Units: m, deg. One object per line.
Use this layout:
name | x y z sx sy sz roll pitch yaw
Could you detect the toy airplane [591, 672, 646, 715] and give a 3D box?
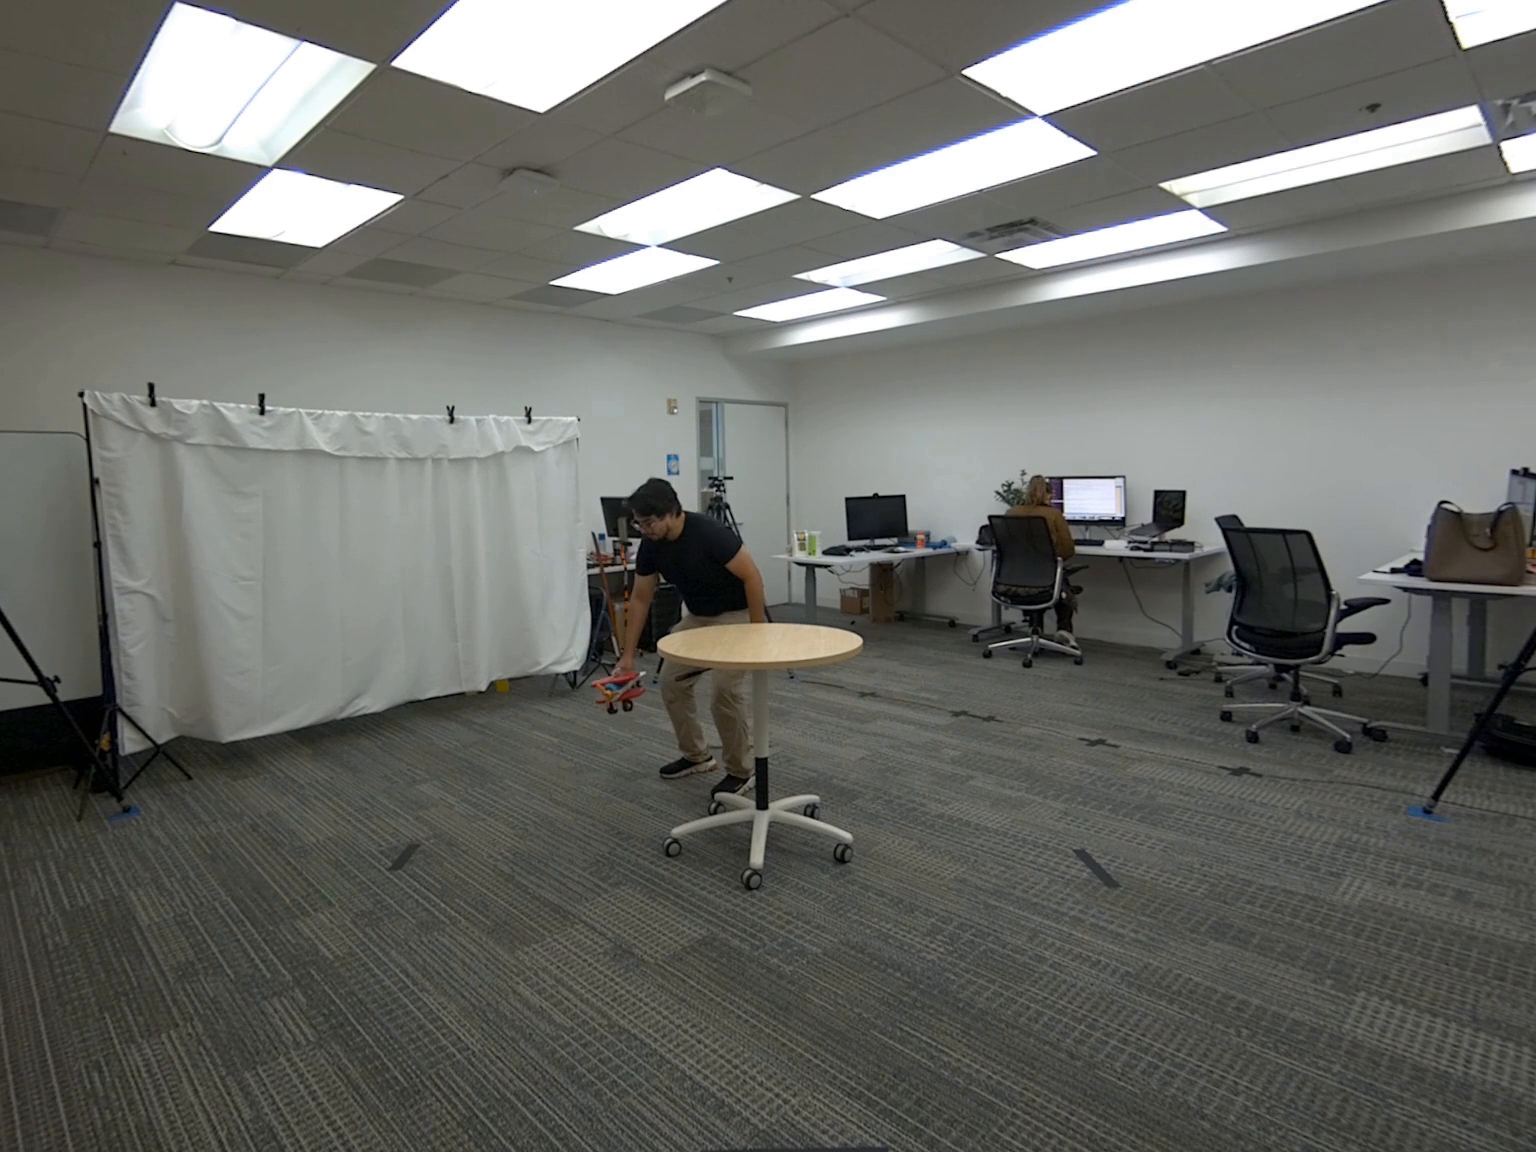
toy airplane | -0.669 0.508 3.858 0.251 0.153 0.266 -25 21 -2
